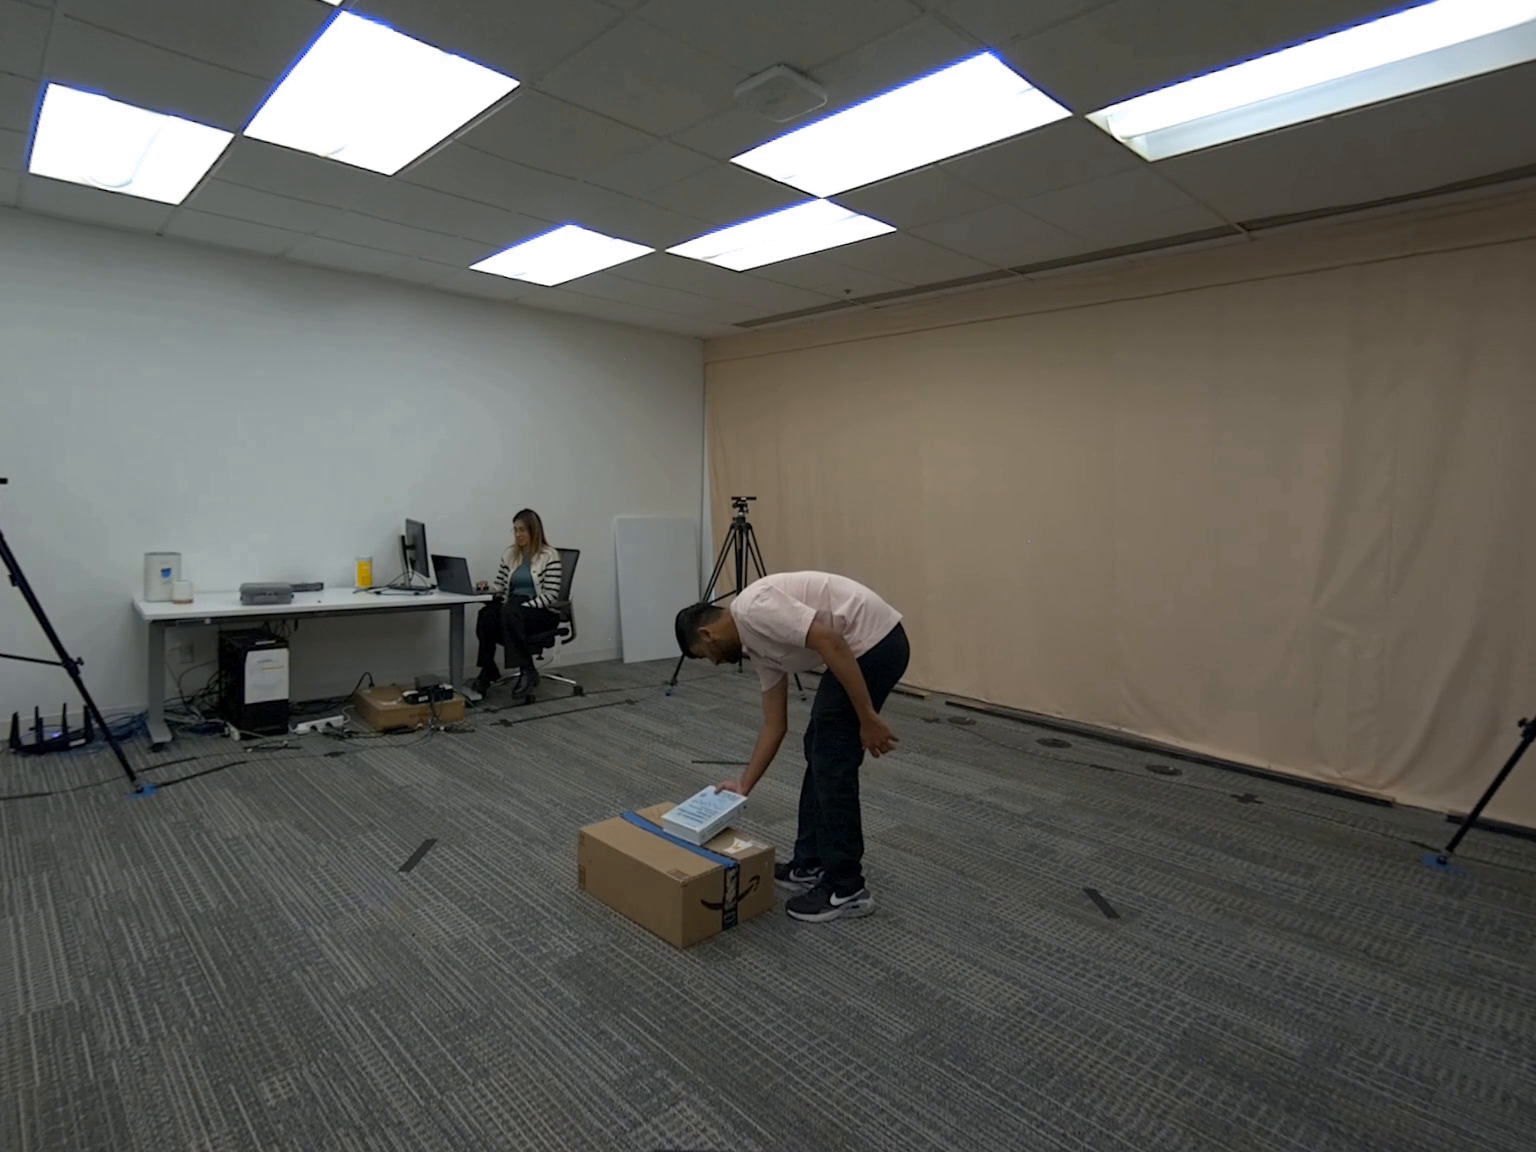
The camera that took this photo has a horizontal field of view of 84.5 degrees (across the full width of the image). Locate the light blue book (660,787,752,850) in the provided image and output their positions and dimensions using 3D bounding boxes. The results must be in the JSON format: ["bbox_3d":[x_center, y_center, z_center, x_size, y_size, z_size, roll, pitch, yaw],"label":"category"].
[{"bbox_3d":[-0.221,0.854,3.004,0.196,0.058,0.257,6,17,40],"label":"light blue book"}]
